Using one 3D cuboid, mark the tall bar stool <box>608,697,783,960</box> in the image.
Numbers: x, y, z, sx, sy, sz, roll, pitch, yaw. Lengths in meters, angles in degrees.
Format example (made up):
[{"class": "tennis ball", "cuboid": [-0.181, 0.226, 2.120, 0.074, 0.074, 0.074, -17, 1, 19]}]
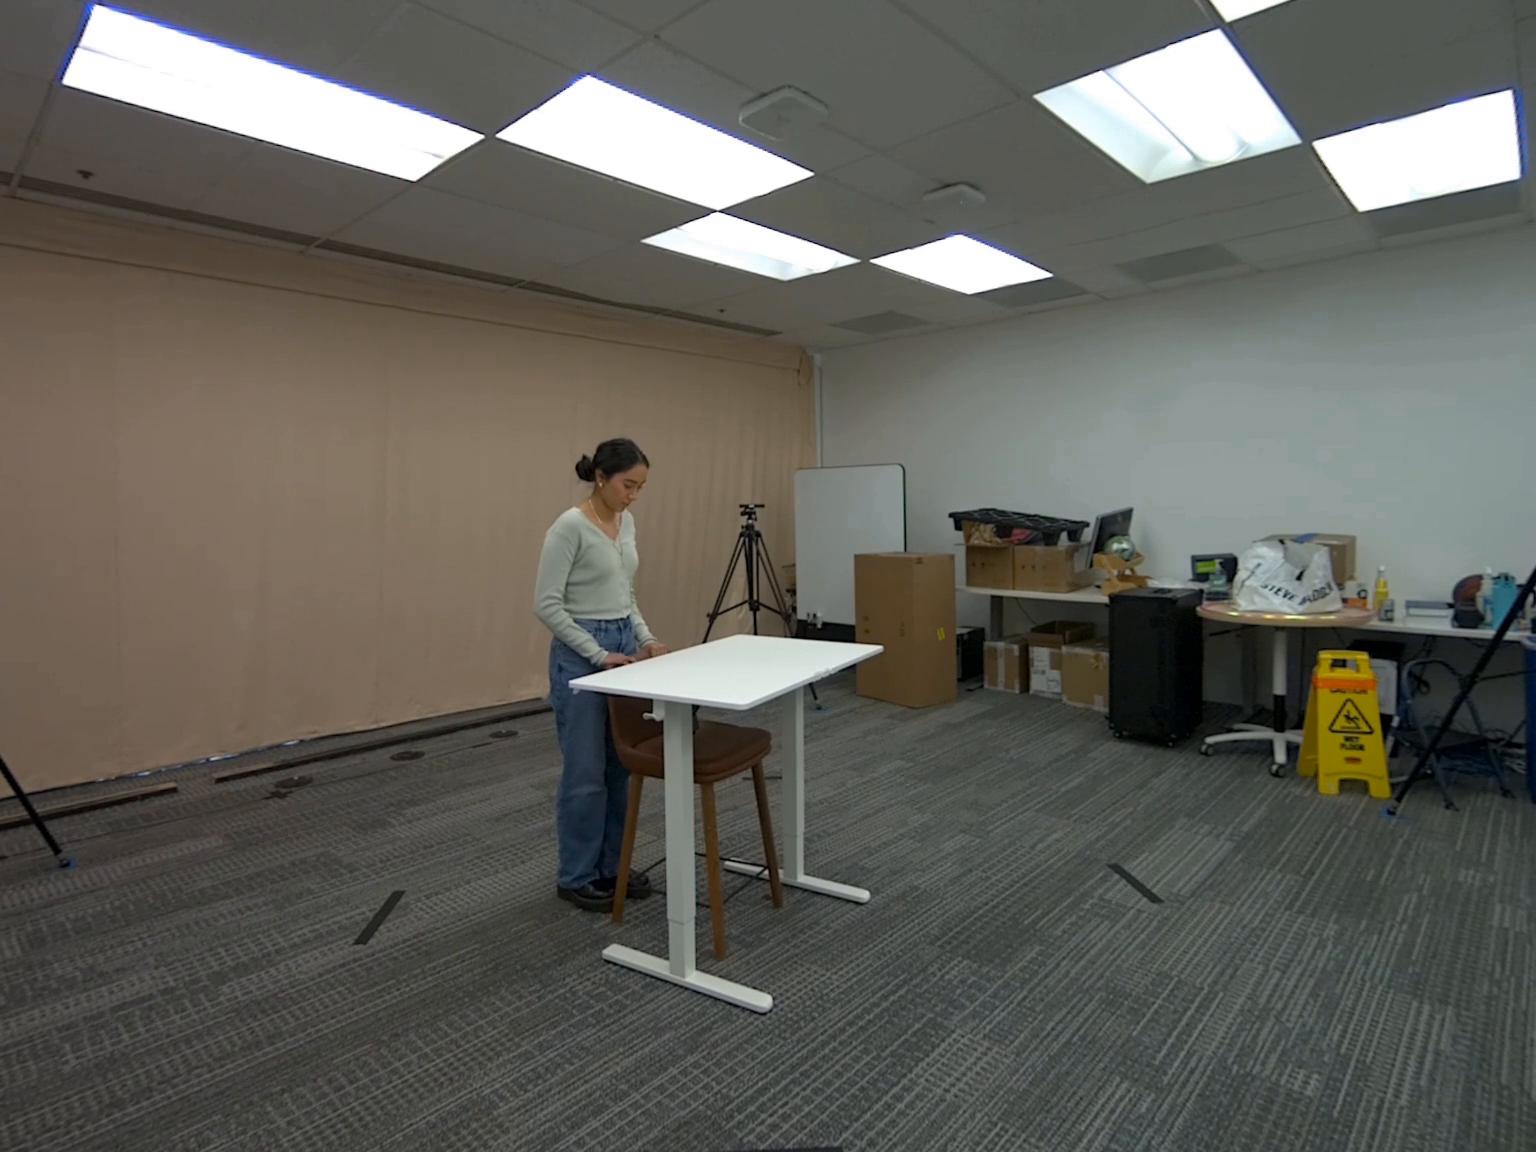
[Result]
[{"class": "tall bar stool", "cuboid": [-0.257, 0.723, 2.839, 0.481, 0.888, 0.444, -2, 3, 30]}]
